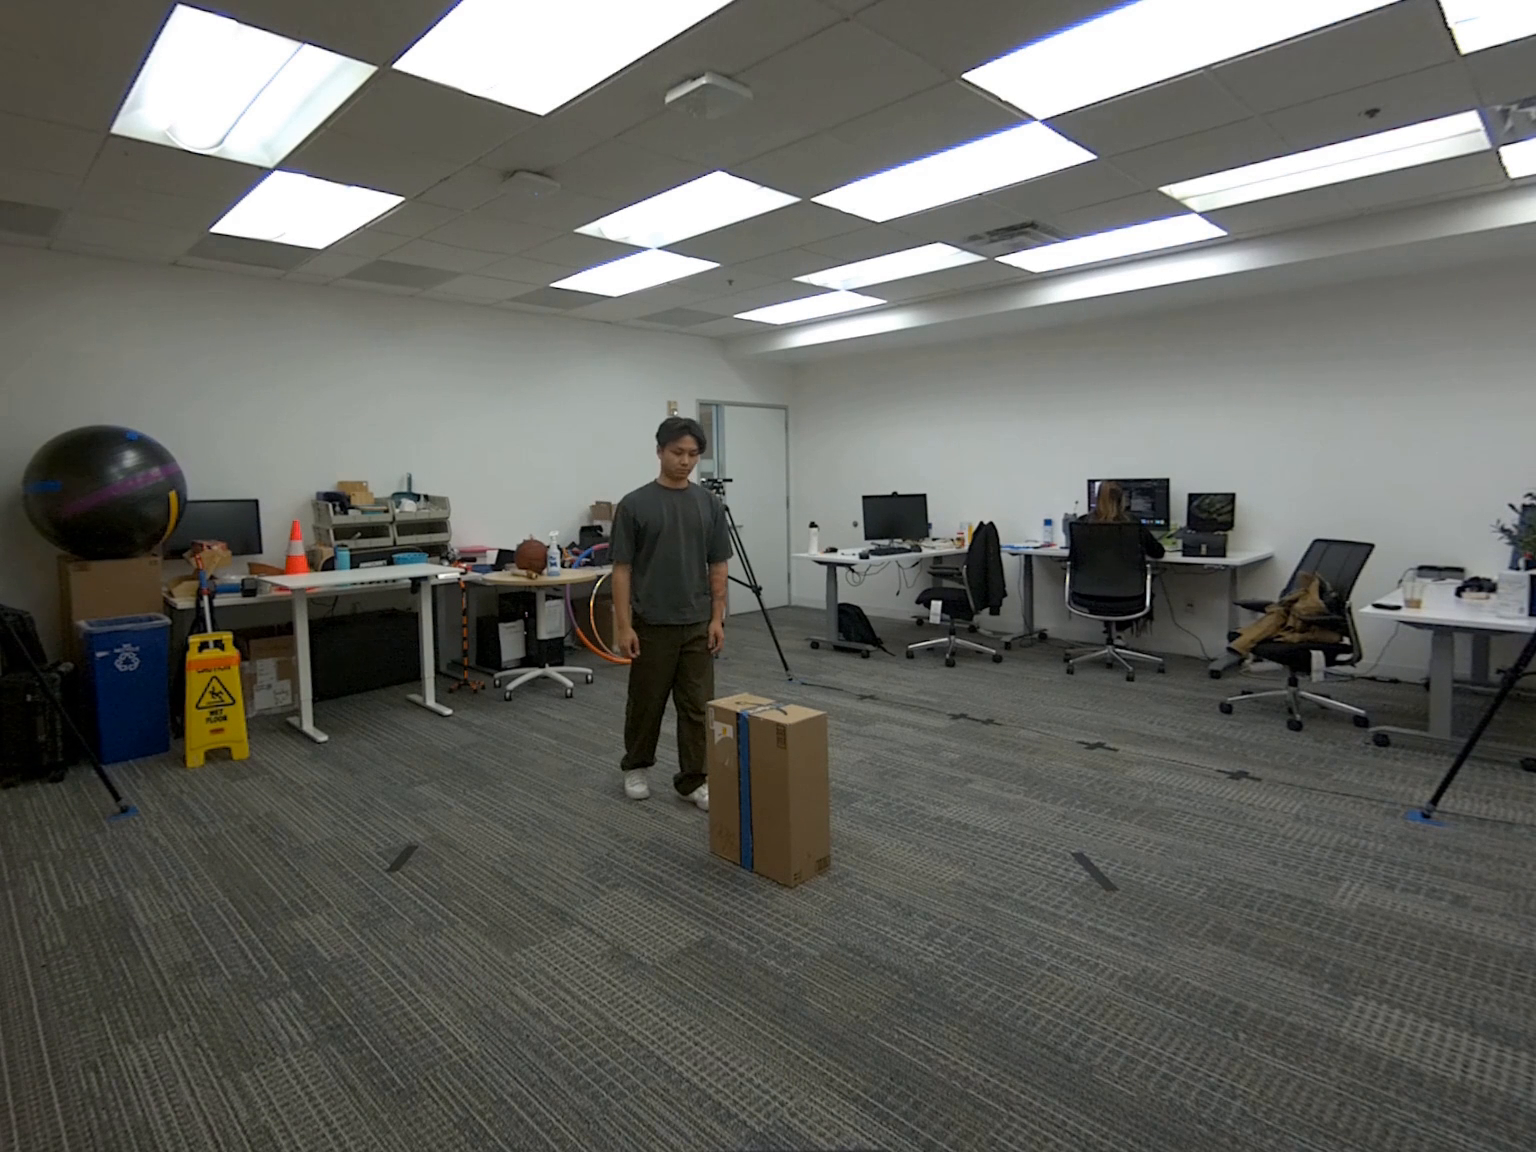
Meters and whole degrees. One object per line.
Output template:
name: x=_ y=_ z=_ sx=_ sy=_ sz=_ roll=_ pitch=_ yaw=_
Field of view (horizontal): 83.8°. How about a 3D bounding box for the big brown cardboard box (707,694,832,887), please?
big brown cardboard box: x=-0.003 y=0.756 z=3.115 sx=0.227 sy=0.587 sz=0.430 roll=-5 pitch=5 yaw=-44
